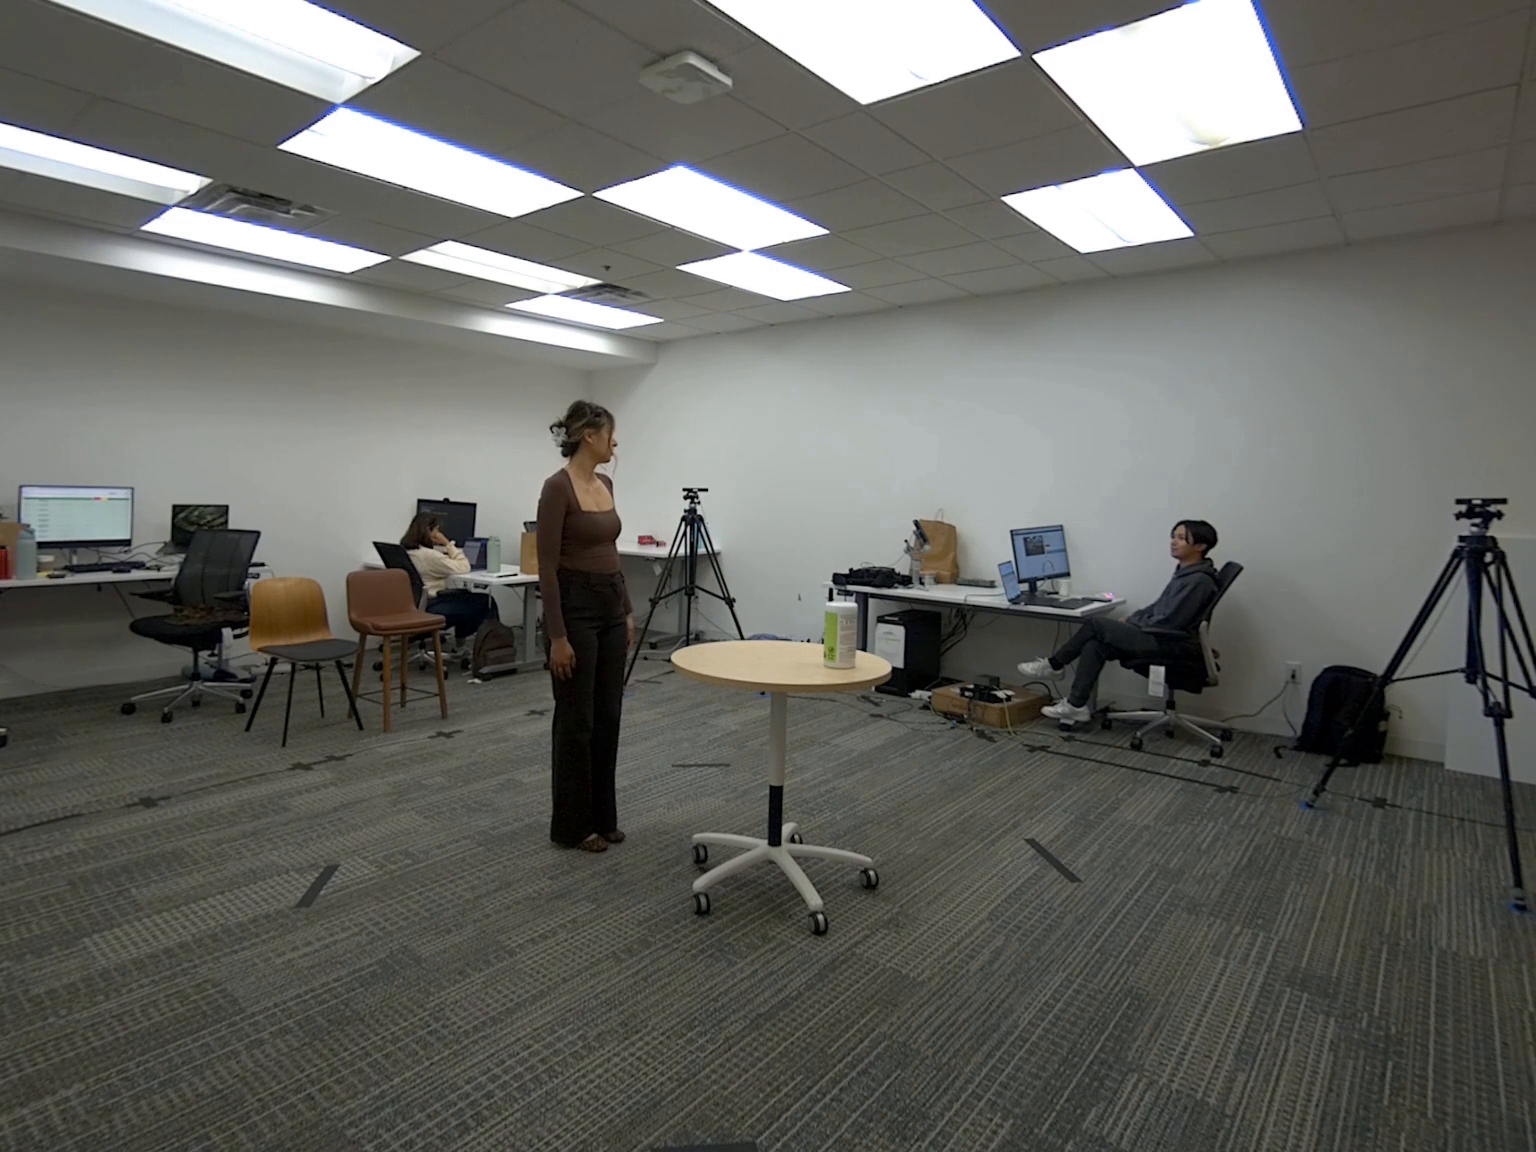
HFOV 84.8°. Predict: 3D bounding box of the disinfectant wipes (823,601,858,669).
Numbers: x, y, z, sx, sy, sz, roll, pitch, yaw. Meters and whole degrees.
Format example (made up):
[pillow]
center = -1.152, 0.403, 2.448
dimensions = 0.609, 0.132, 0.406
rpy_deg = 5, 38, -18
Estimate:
[disinfectant wipes]
center = 0.243, 0.197, 2.887
dimensions = 0.117, 0.217, 0.118
rpy_deg = 1, 4, -2
